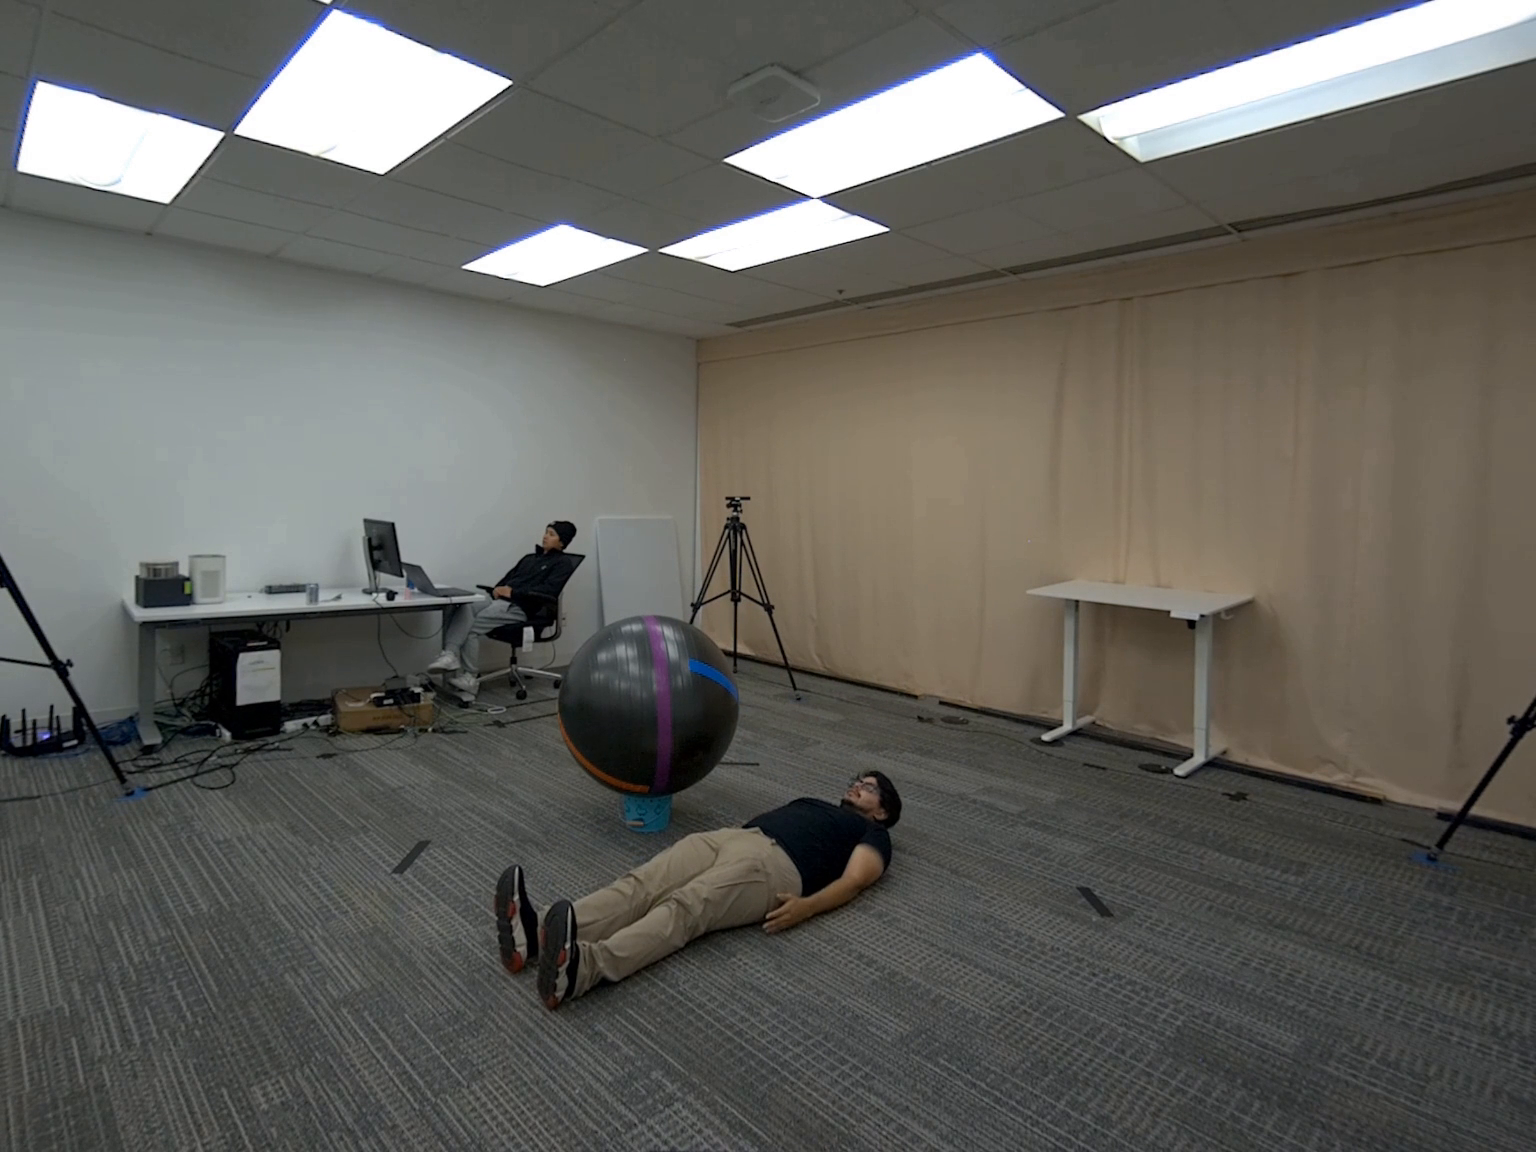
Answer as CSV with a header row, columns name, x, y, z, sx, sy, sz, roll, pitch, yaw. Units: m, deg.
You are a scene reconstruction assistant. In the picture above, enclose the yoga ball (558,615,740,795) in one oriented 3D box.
name,x,y,z,sx,sy,sz,roll,pitch,yaw
yoga ball,-0.511,0.551,3.568,0.757,0.755,0.761,1,5,-1
